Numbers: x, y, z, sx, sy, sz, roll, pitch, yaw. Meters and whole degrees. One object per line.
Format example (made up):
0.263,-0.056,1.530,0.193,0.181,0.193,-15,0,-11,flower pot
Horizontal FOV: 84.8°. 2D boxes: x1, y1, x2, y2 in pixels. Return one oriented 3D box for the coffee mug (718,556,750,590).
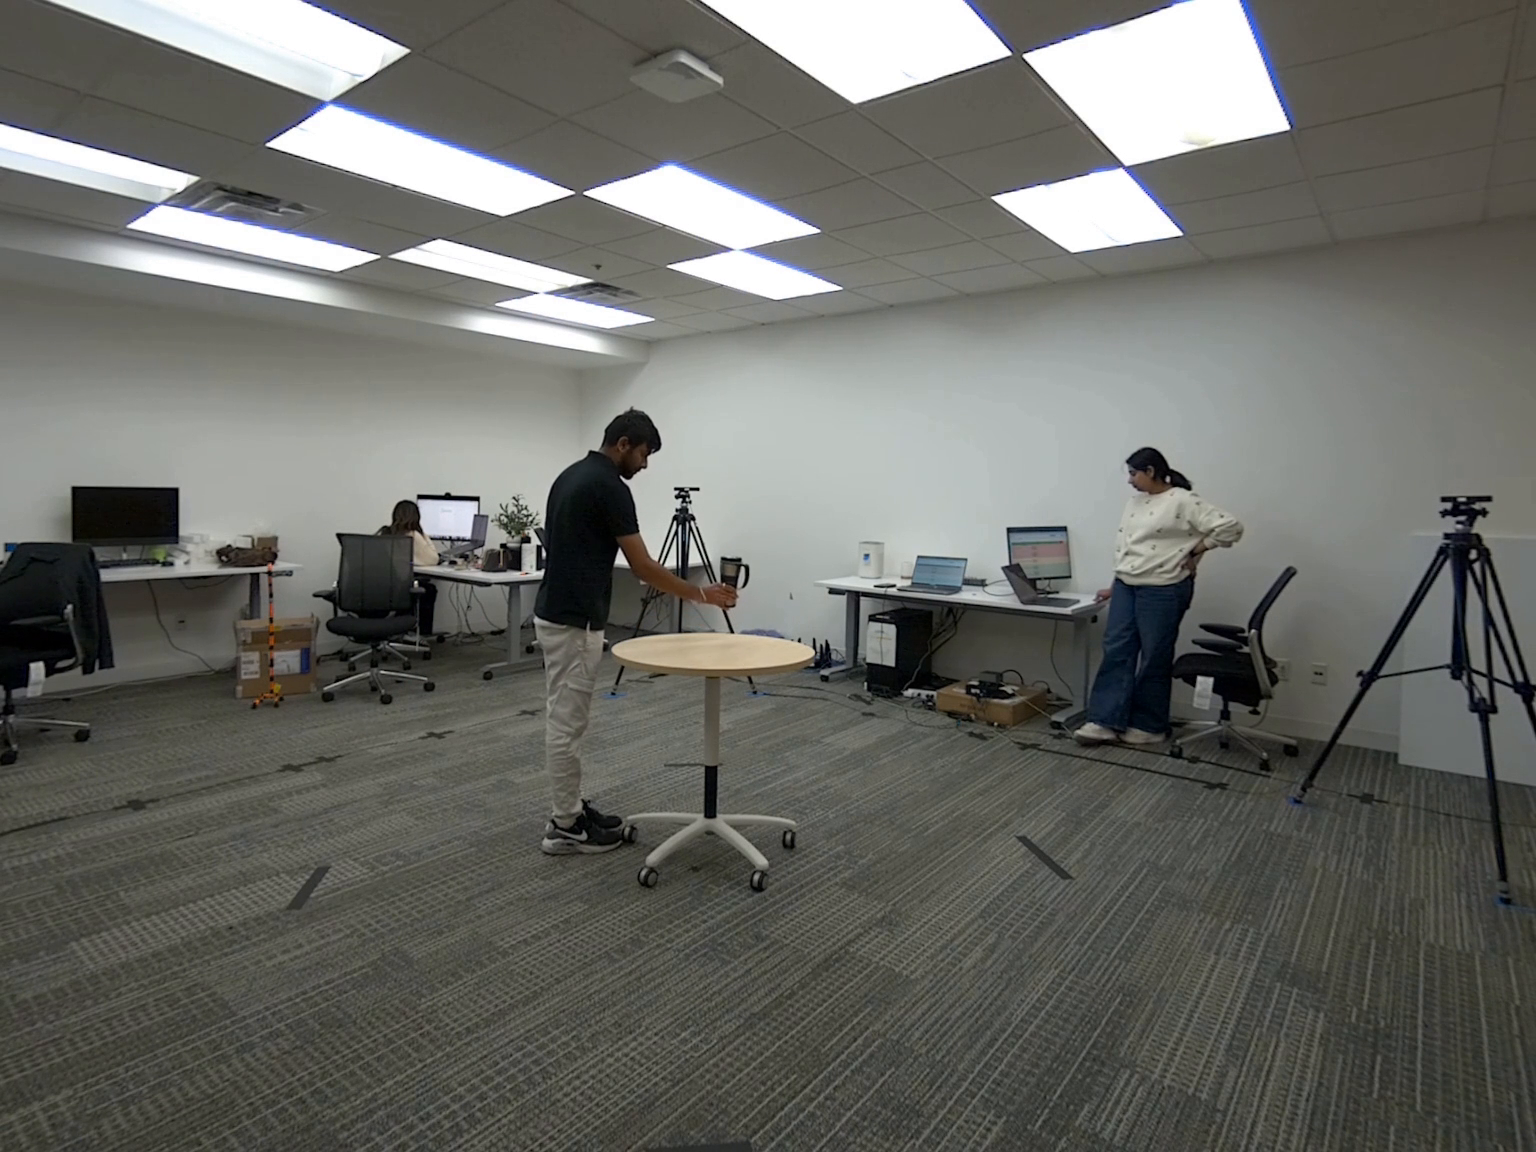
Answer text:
-0.151,0.028,3.379,0.085,0.202,0.126,0,7,-35,coffee mug
